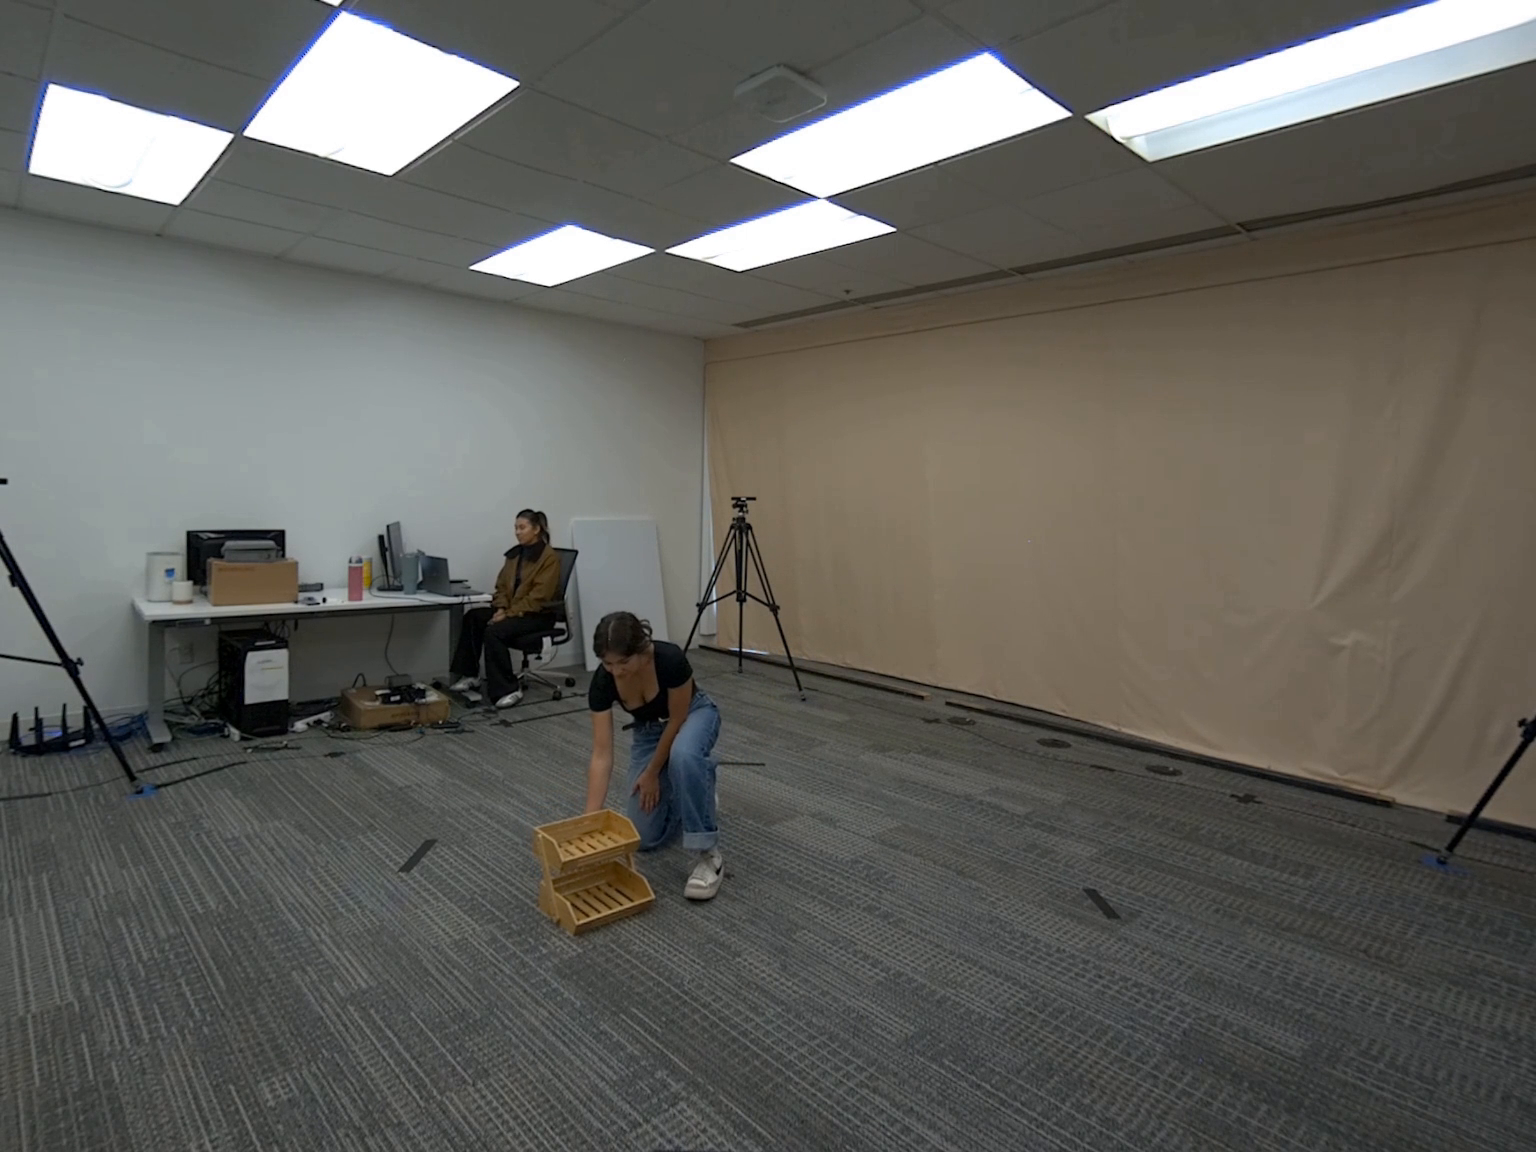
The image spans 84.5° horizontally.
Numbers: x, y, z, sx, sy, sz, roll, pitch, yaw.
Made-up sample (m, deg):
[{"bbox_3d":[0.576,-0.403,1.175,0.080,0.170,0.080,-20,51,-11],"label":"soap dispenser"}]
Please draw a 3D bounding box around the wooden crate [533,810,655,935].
[{"bbox_3d":[-0.599,0.991,2.837,0.317,0.273,0.310,-2,5,-42],"label":"wooden crate"}]
